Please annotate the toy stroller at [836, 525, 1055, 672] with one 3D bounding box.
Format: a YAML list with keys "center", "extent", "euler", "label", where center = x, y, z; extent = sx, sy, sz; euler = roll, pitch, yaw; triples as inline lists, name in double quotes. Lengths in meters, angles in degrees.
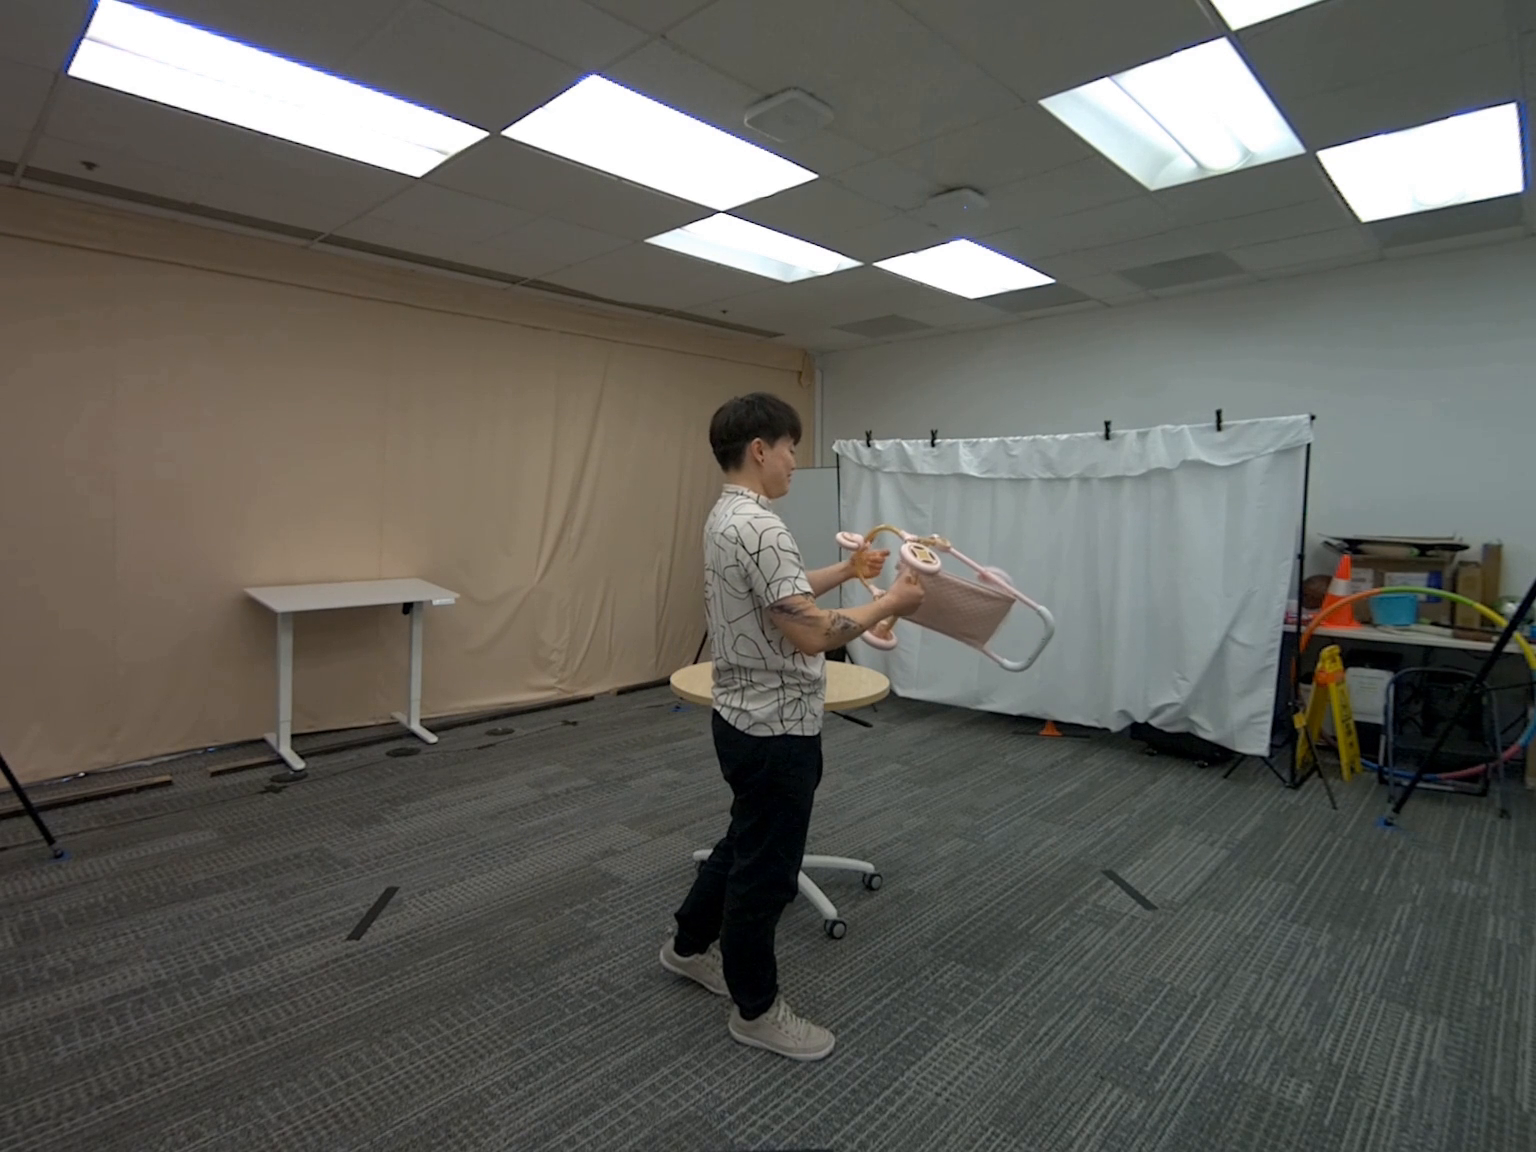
- center: [0.456, 0.039, 2.249]
  extent: [0.526, 0.280, 0.349]
  euler: [15, 27, -15]
  label: "toy stroller"
